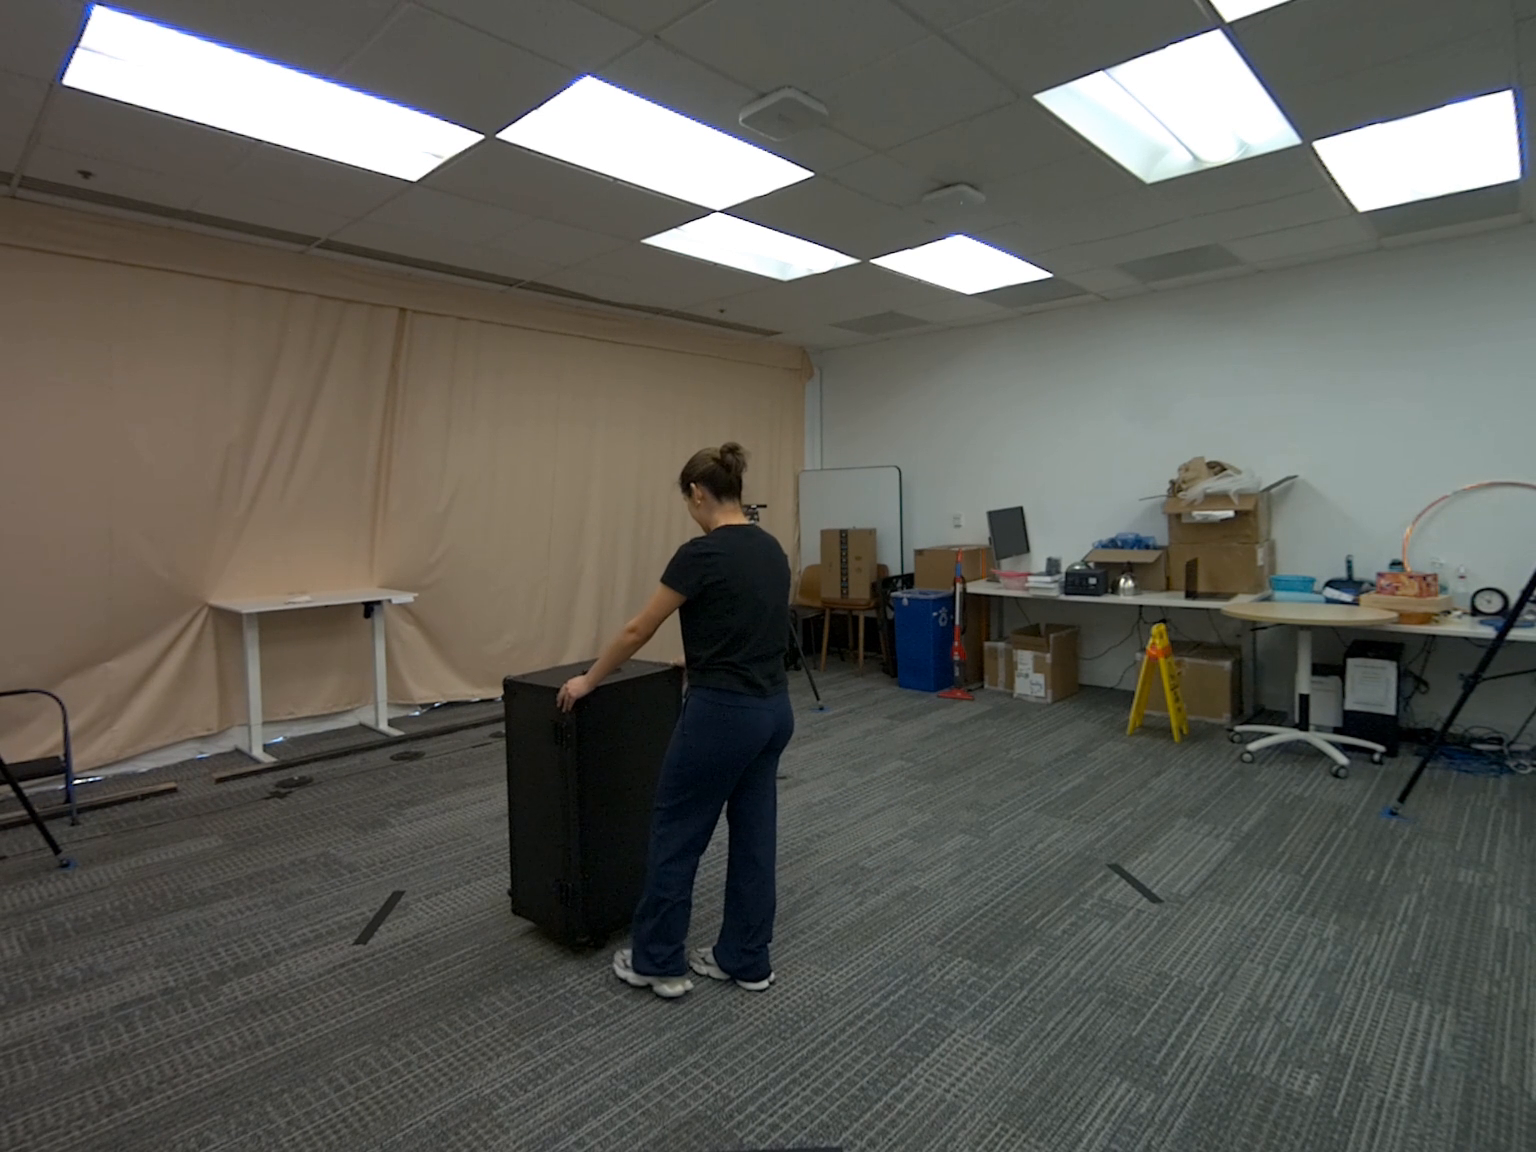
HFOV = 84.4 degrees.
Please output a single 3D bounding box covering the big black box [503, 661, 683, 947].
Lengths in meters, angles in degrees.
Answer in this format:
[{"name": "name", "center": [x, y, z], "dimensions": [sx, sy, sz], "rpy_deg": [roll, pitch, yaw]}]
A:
[{"name": "big black box", "center": [-0.564, 0.739, 2.816], "dimensions": [0.409, 0.860, 0.506], "rpy_deg": [1, 4, 38]}]
